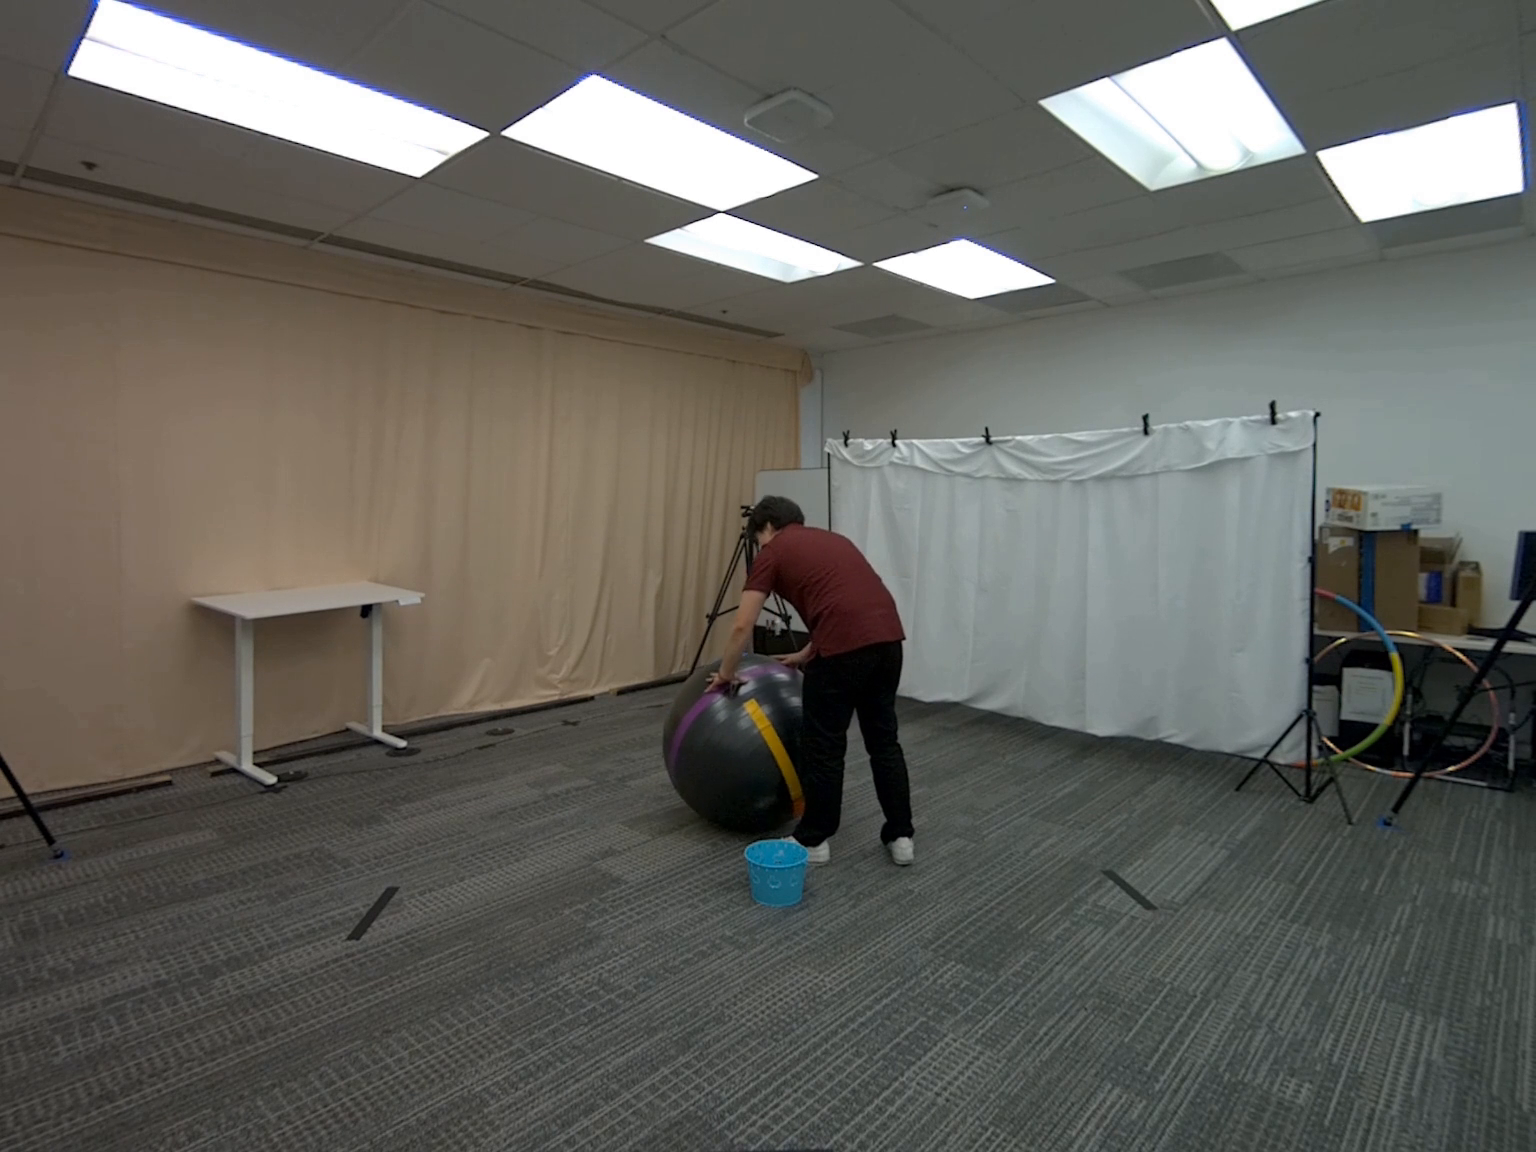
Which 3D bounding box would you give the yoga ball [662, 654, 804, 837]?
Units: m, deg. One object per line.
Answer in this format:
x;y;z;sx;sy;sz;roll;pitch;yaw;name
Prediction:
-0.085;0.725;3.708;0.757;0.756;0.760;0;4;-2;yoga ball
